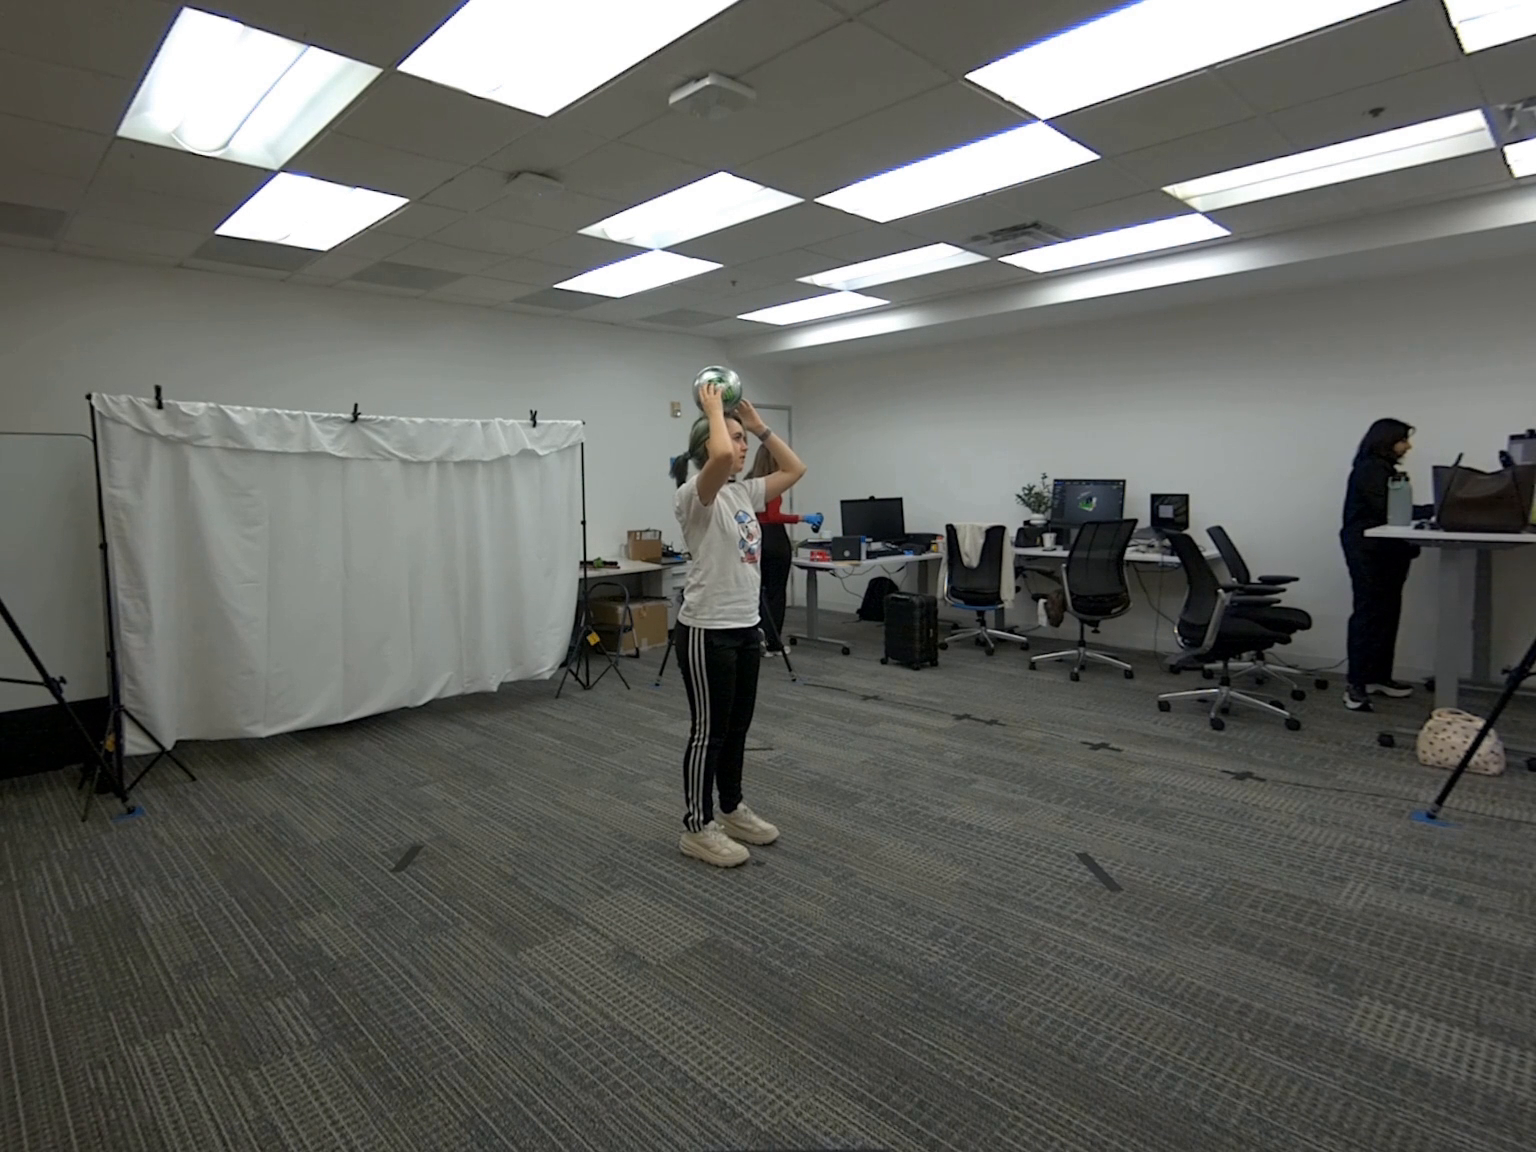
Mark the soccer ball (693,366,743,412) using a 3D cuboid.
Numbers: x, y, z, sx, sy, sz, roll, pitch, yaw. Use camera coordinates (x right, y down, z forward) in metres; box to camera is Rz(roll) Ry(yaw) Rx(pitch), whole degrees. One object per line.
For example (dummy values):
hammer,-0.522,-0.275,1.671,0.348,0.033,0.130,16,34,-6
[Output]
soccer ball,-0.188,-0.685,3.168,0.187,0.187,0.188,-1,5,-2
